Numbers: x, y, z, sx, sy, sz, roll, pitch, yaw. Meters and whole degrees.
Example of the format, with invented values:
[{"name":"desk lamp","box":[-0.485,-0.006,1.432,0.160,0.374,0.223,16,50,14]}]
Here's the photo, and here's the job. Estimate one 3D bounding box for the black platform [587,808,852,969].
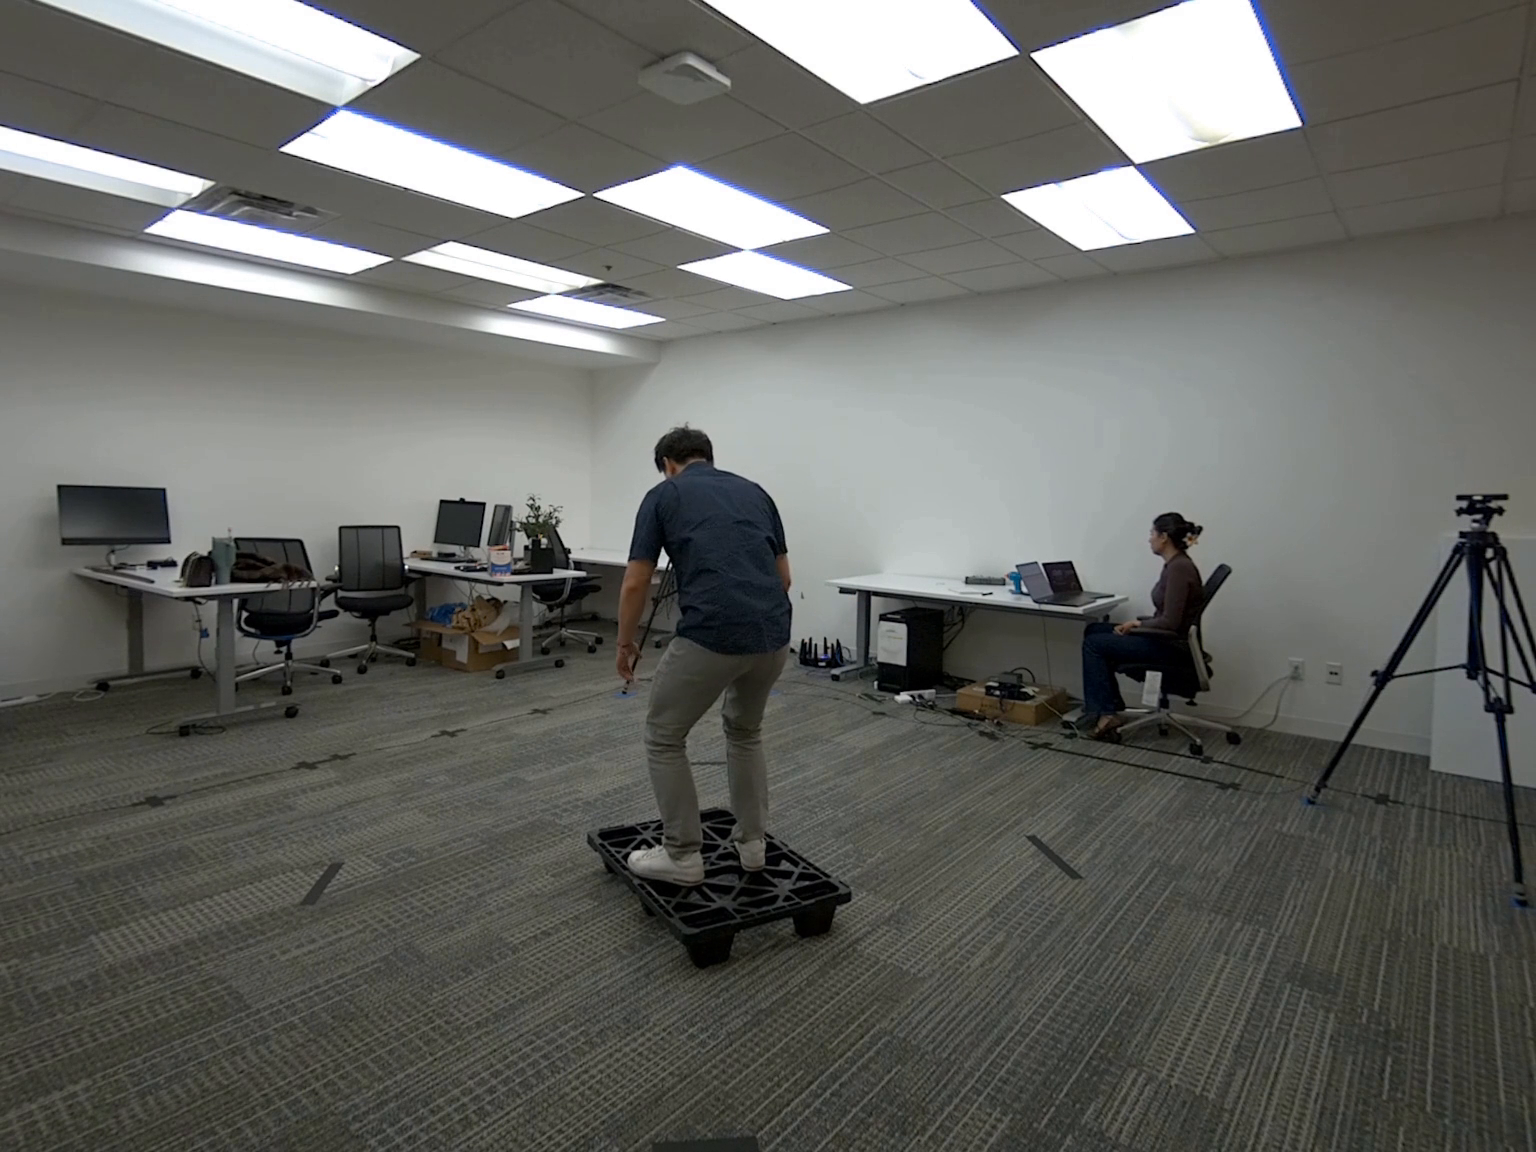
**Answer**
[{"name":"black platform","box":[-0.206,1.021,2.875,0.589,0.143,0.830,-3,7,-30]}]
